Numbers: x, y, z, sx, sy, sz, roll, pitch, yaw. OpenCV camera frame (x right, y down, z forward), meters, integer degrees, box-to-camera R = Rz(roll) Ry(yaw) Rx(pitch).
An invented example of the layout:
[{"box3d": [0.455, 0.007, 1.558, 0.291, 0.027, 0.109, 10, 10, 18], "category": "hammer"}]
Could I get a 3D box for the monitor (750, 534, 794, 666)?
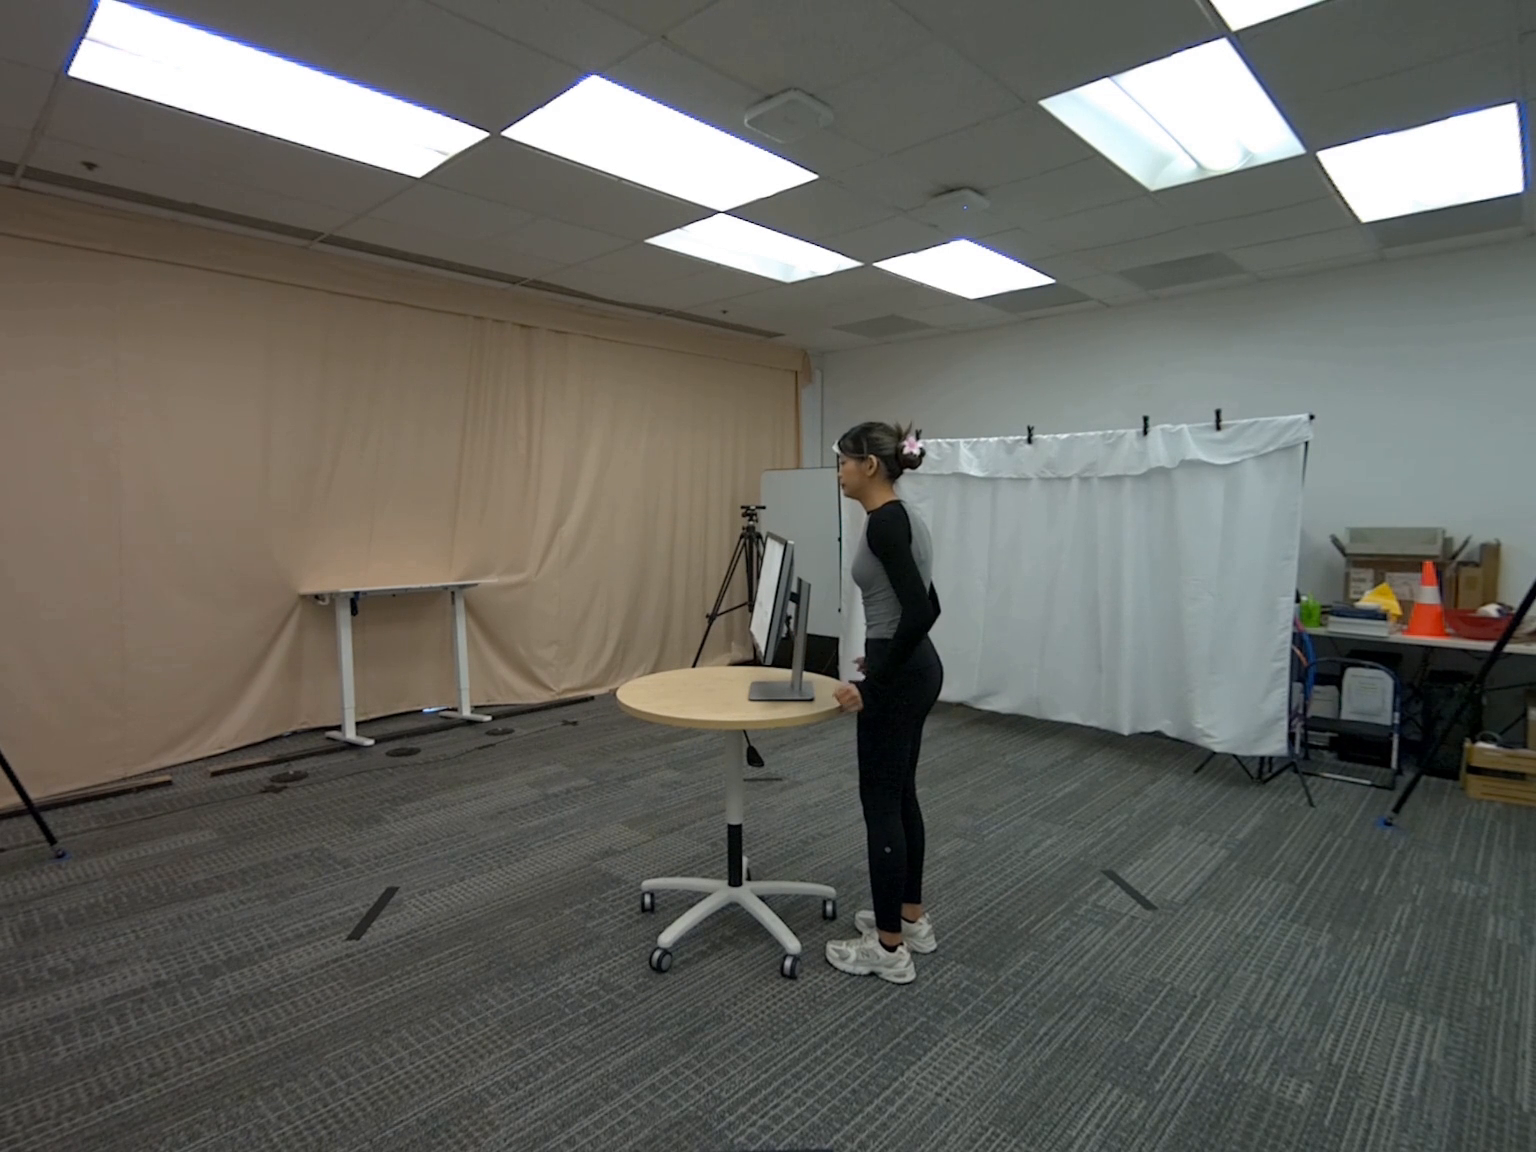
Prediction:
[{"box3d": [0.051, 0.130, 2.693, 0.186, 0.521, 0.544, -3, 5, -7], "category": "monitor"}]
